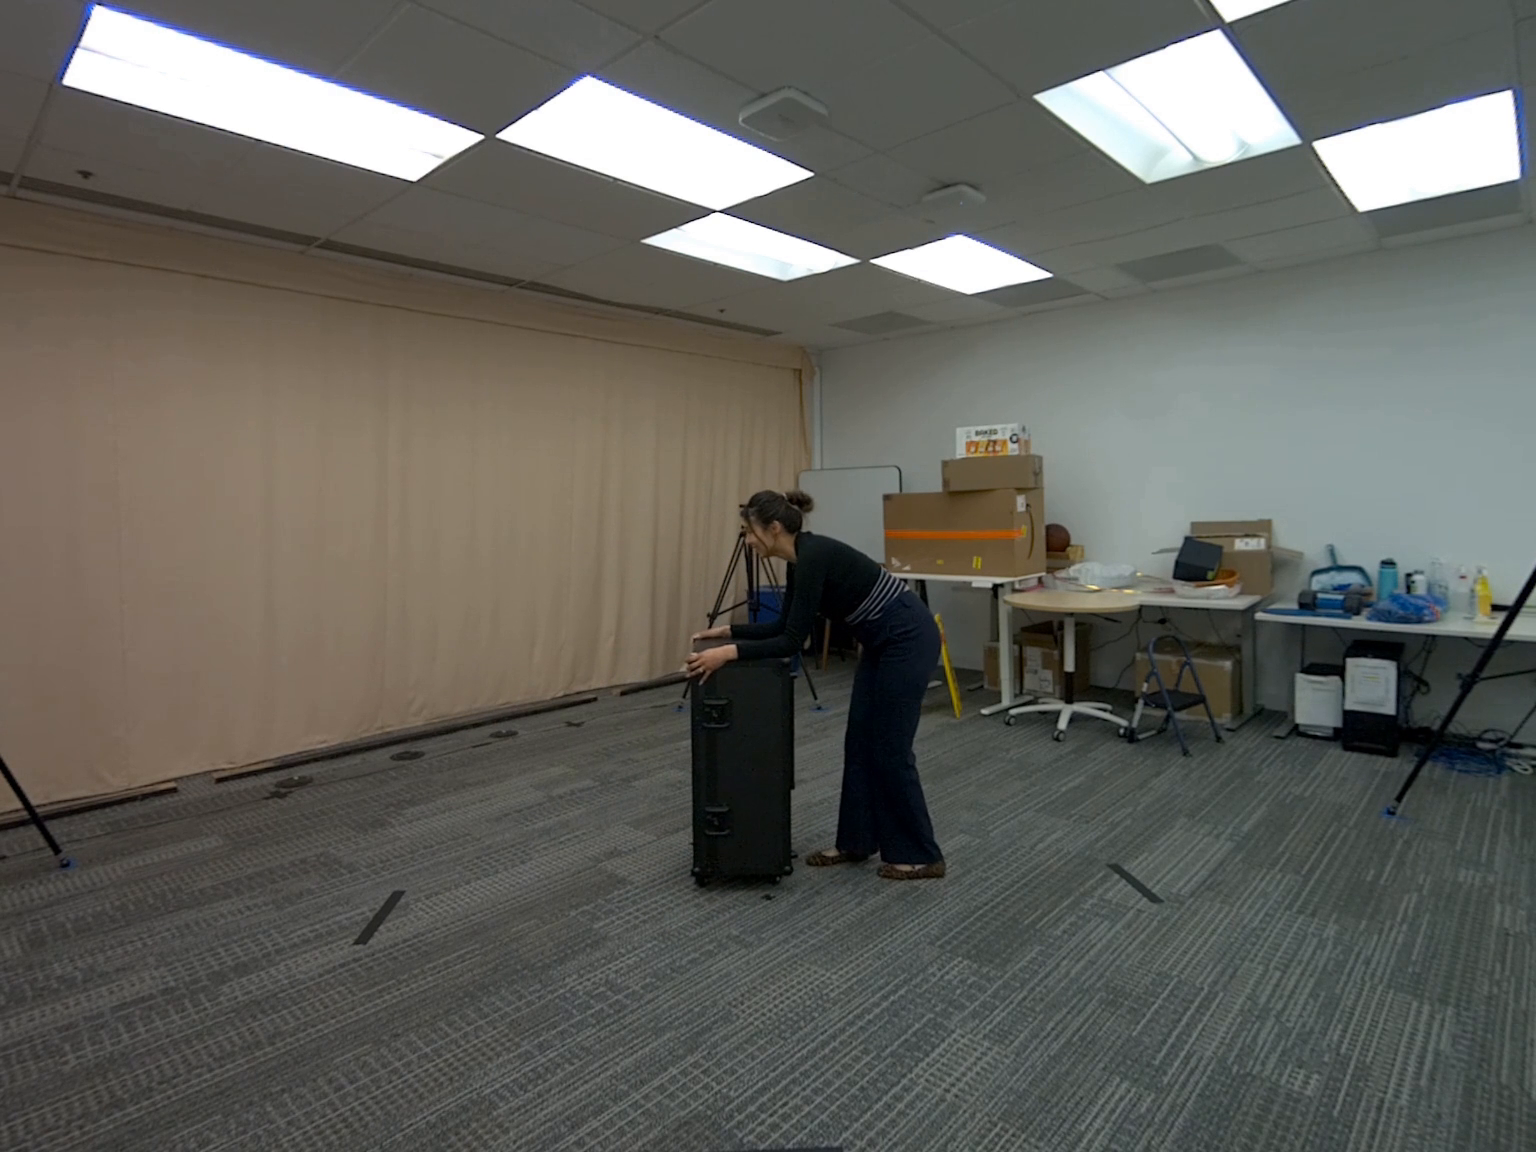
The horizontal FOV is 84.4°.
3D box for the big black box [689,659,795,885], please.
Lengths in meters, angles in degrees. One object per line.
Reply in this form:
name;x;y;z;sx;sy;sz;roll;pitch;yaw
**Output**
big black box;-0.091;0.696;3.226;0.396;0.860;0.522;0;2;-1
